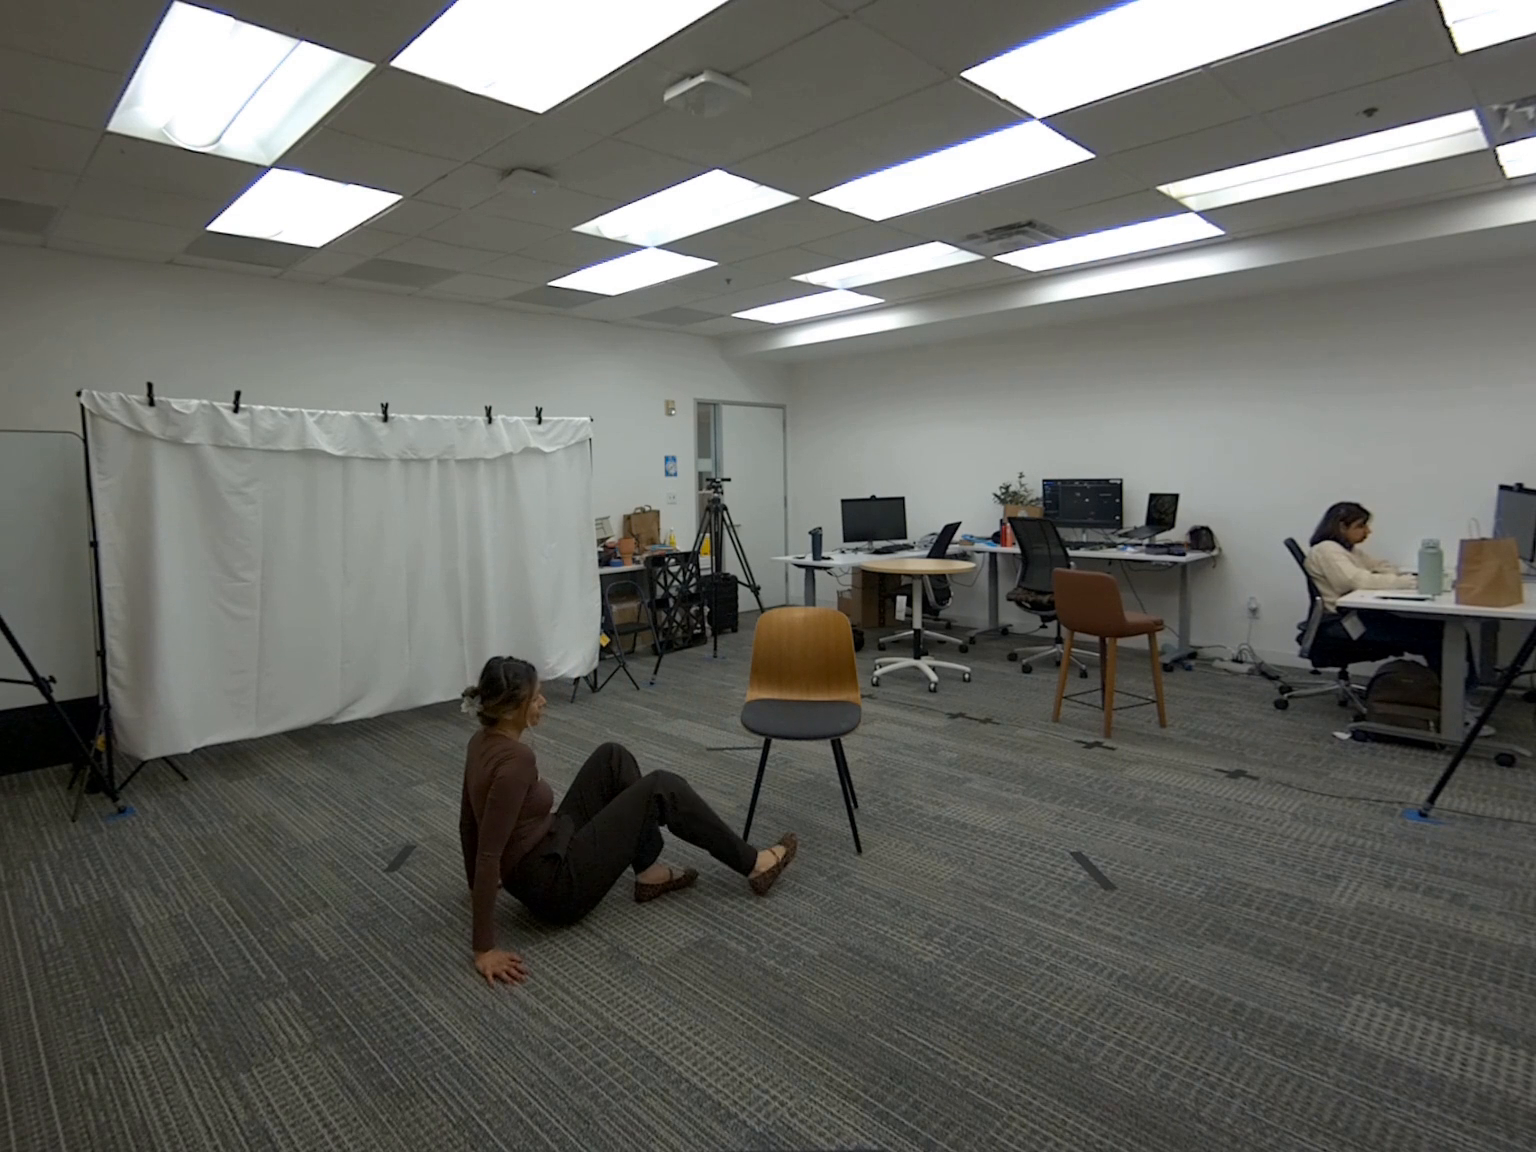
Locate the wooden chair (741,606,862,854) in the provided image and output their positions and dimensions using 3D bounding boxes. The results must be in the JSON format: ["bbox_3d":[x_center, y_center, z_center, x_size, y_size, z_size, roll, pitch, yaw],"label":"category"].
[{"bbox_3d":[0.139,0.581,3.380,0.482,0.877,0.519,0,0,6],"label":"wooden chair"}]
